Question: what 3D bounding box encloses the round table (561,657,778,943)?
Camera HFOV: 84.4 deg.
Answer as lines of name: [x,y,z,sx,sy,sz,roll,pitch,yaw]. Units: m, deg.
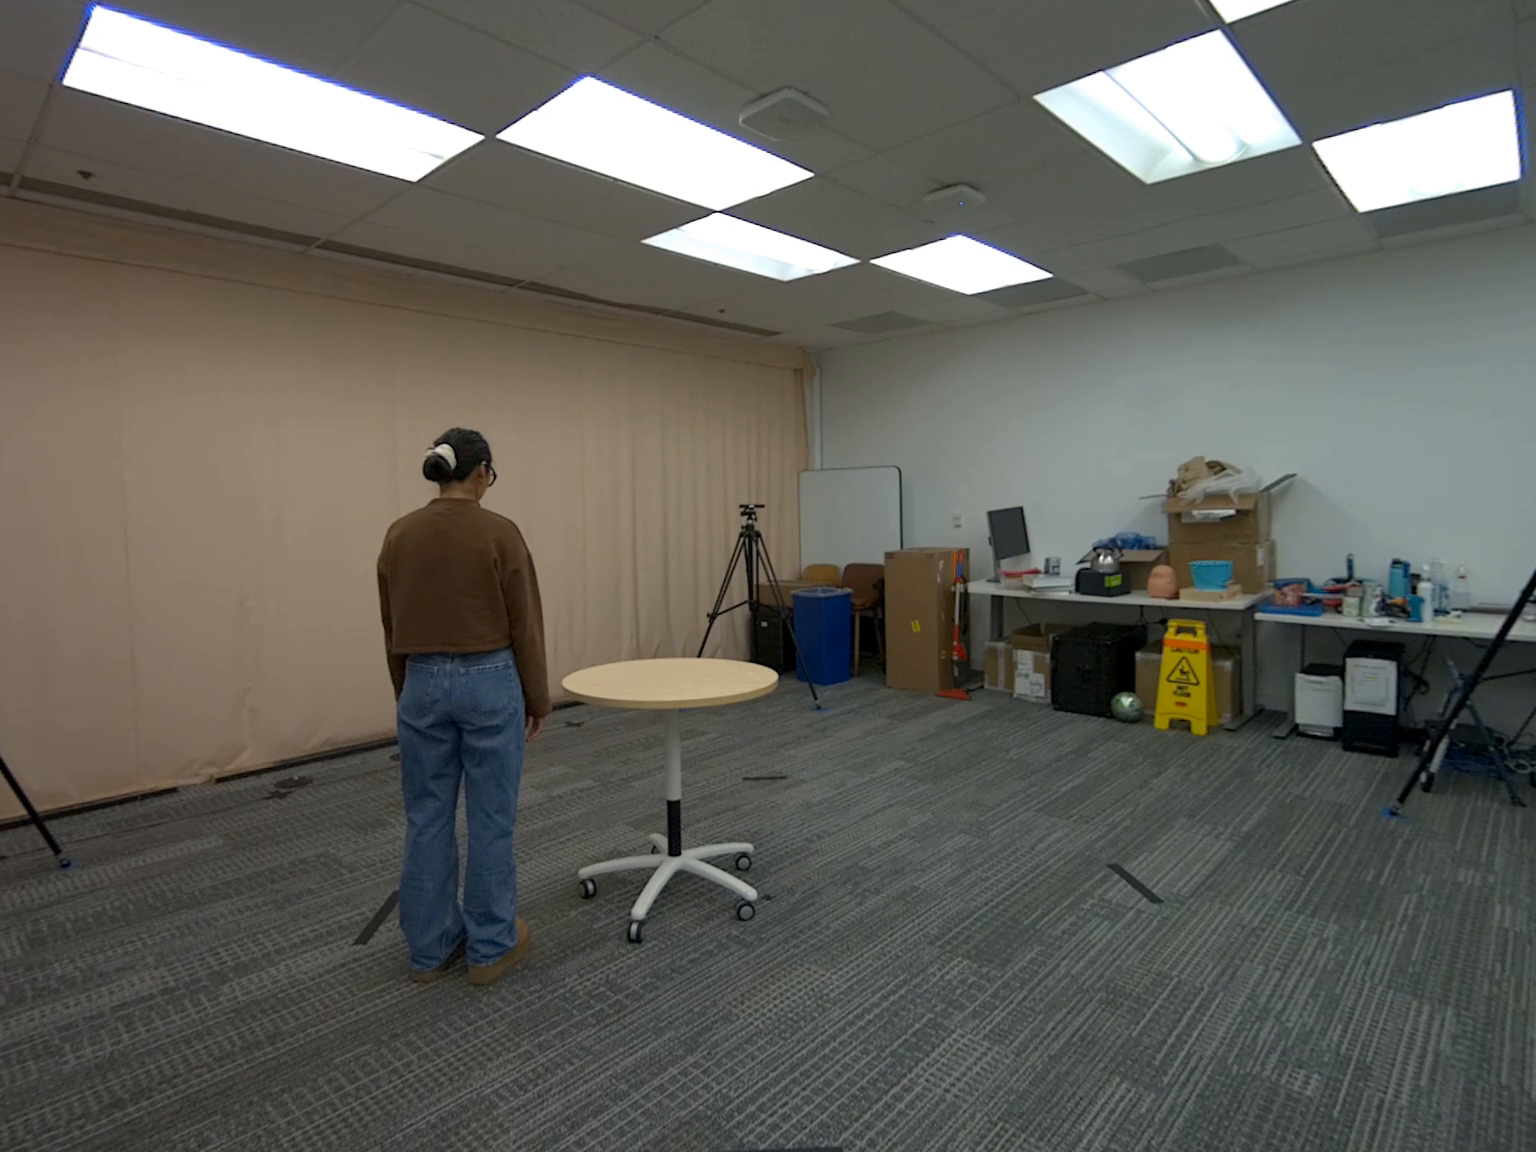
round table: [-0.333,0.754,3.021,0.763,0.792,0.766,-1,4,-2]
